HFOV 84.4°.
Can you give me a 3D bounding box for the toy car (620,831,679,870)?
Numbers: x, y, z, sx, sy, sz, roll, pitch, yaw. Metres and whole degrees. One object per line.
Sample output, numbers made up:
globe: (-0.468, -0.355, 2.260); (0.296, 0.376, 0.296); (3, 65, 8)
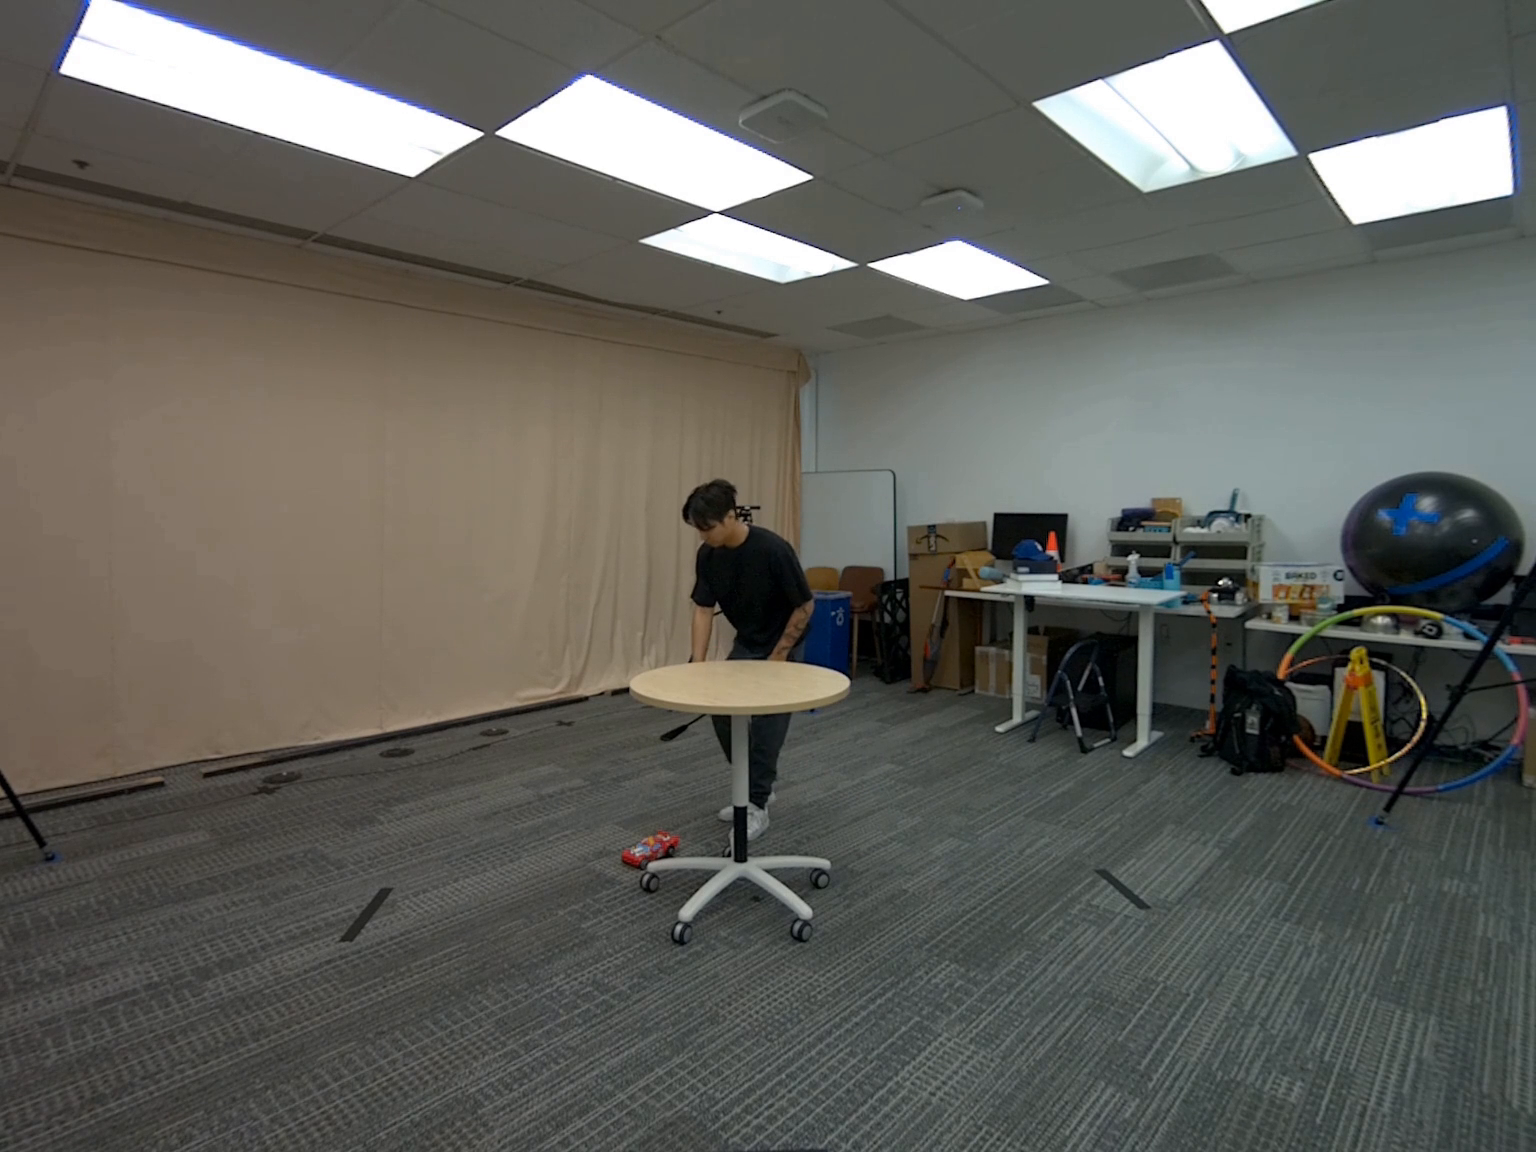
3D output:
toy car: (-0.458, 1.085, 3.341); (0.134, 0.082, 0.249); (2, 17, 39)
